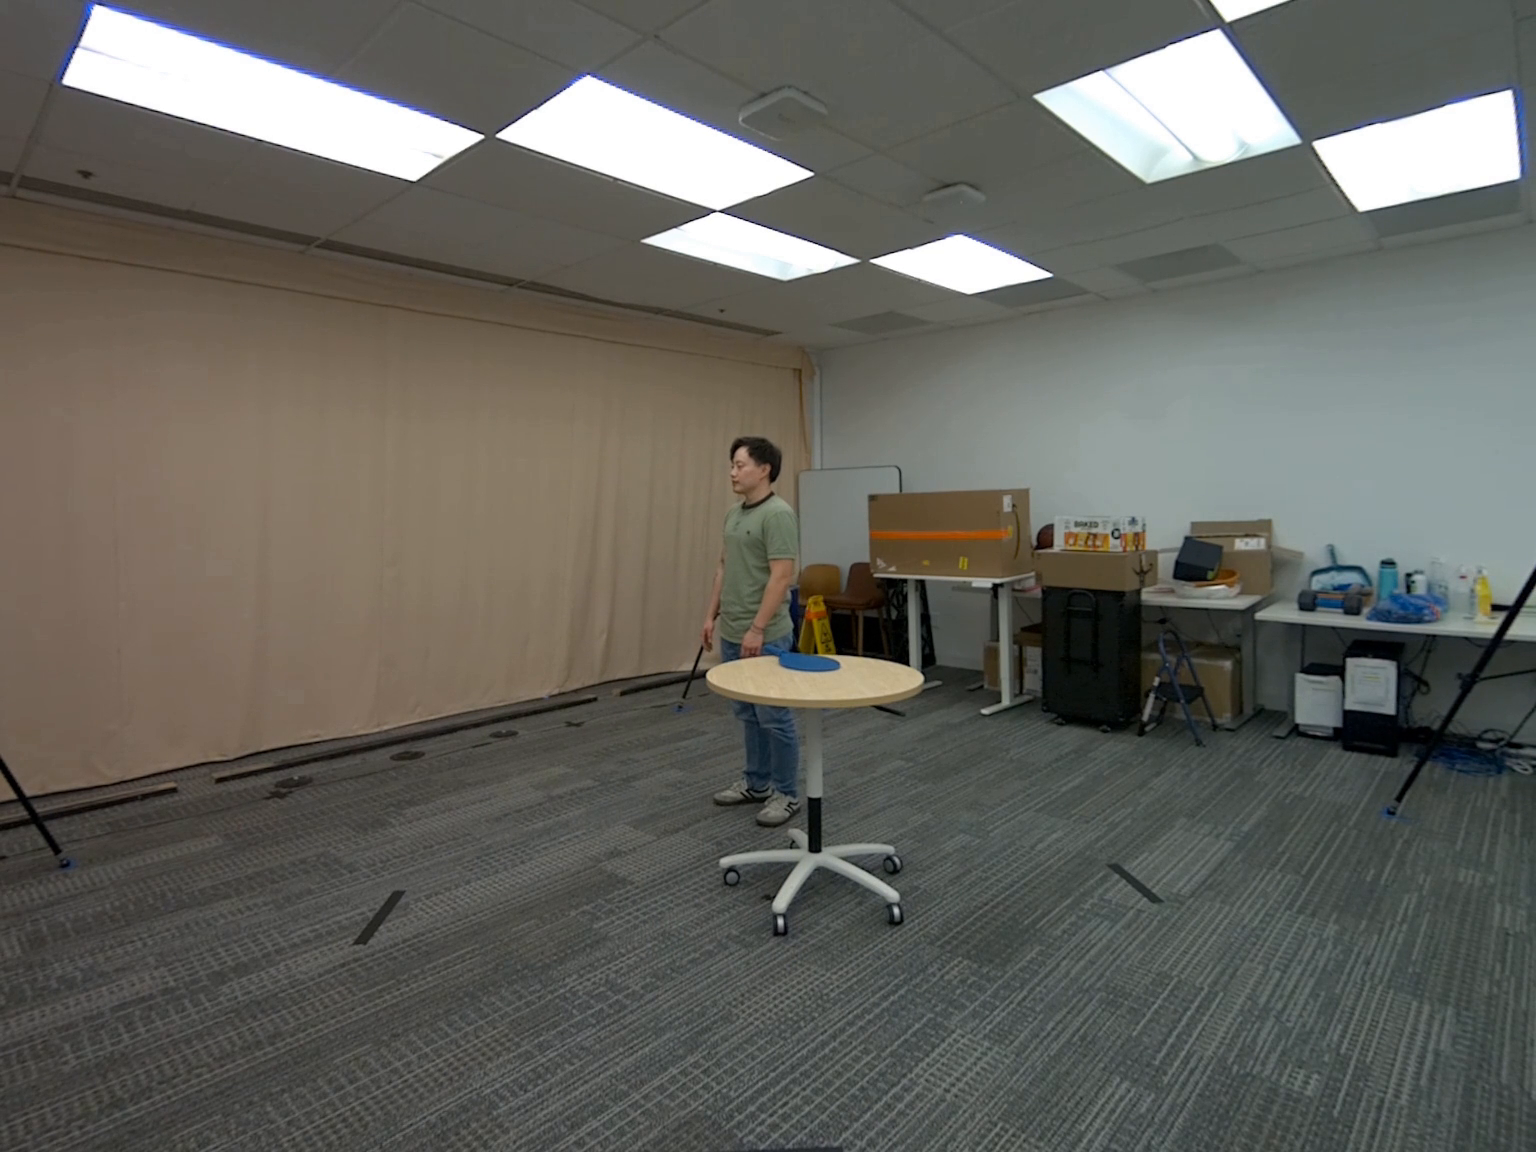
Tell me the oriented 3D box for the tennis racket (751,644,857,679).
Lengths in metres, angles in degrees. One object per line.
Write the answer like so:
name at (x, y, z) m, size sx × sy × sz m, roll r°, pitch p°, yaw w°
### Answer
tennis racket at (0.116, 0.320, 3.240) m, size 0.208 × 0.031 × 0.446 m, roll -2°, pitch 7°, yaw -30°
